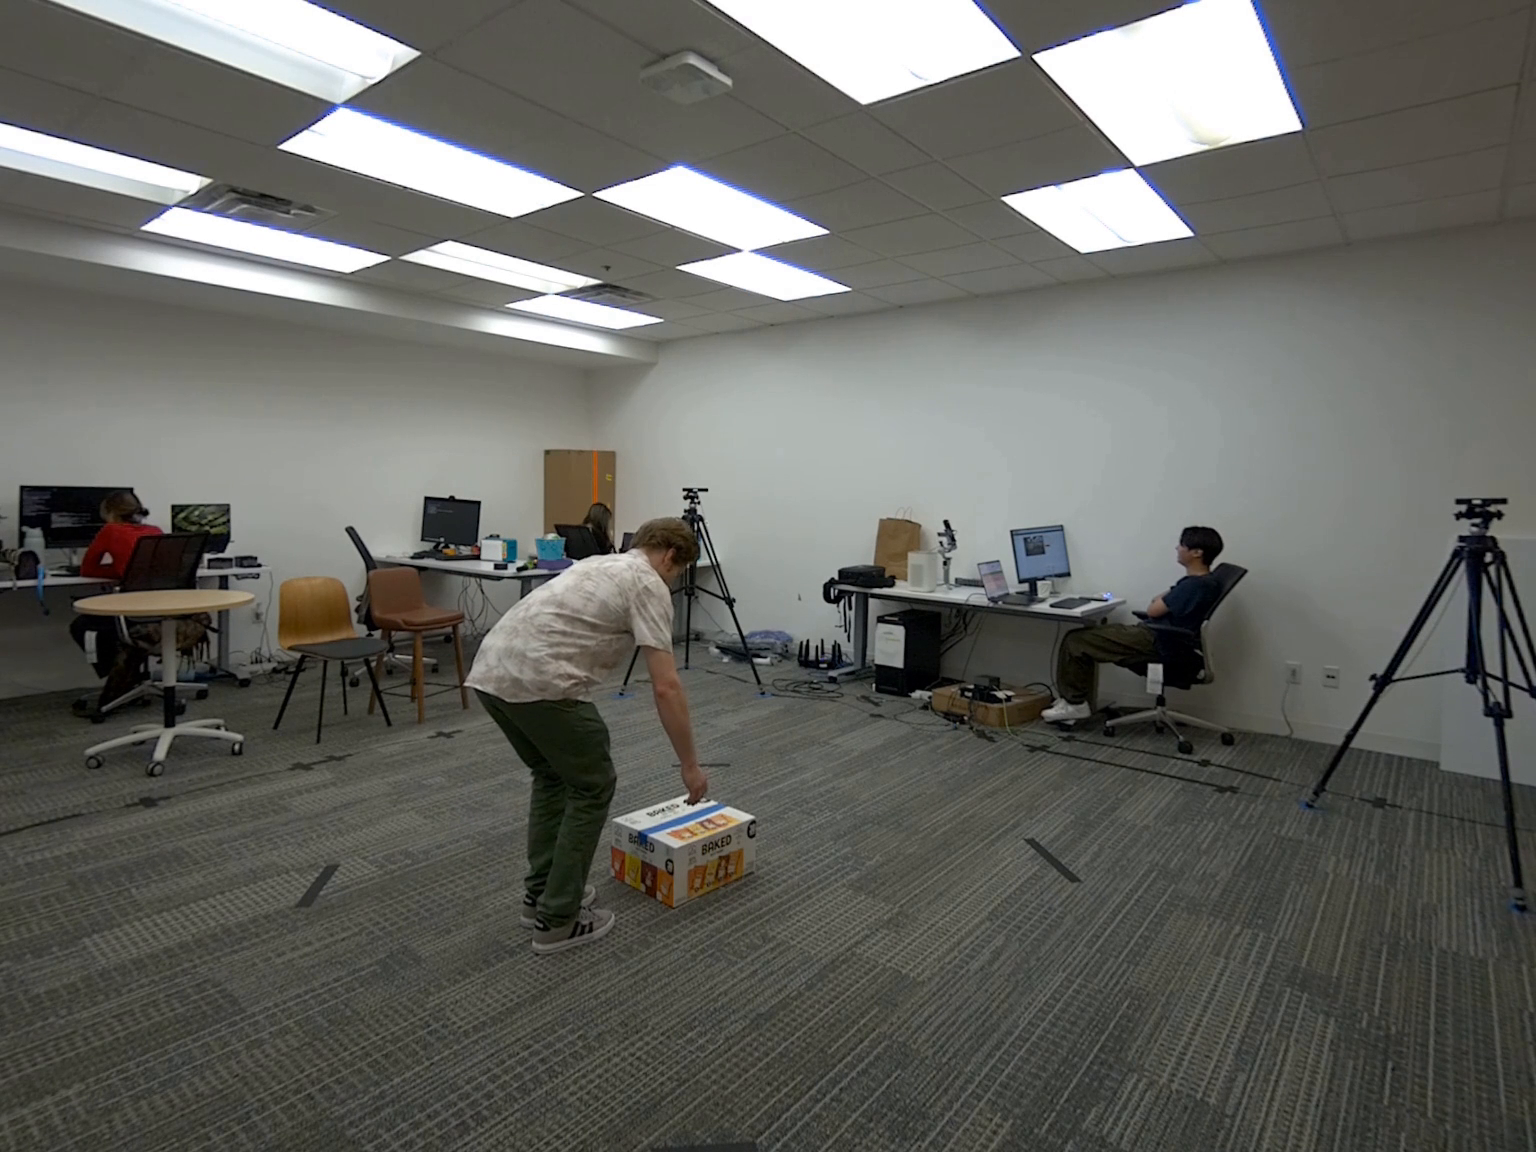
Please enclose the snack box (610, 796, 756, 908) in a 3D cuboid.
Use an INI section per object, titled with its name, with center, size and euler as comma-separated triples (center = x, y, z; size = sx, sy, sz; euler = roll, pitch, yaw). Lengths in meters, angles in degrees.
[snack box]
center = -0.312, 0.972, 3.064
size = 0.352, 0.205, 0.393
euler = 6, 7, 43
